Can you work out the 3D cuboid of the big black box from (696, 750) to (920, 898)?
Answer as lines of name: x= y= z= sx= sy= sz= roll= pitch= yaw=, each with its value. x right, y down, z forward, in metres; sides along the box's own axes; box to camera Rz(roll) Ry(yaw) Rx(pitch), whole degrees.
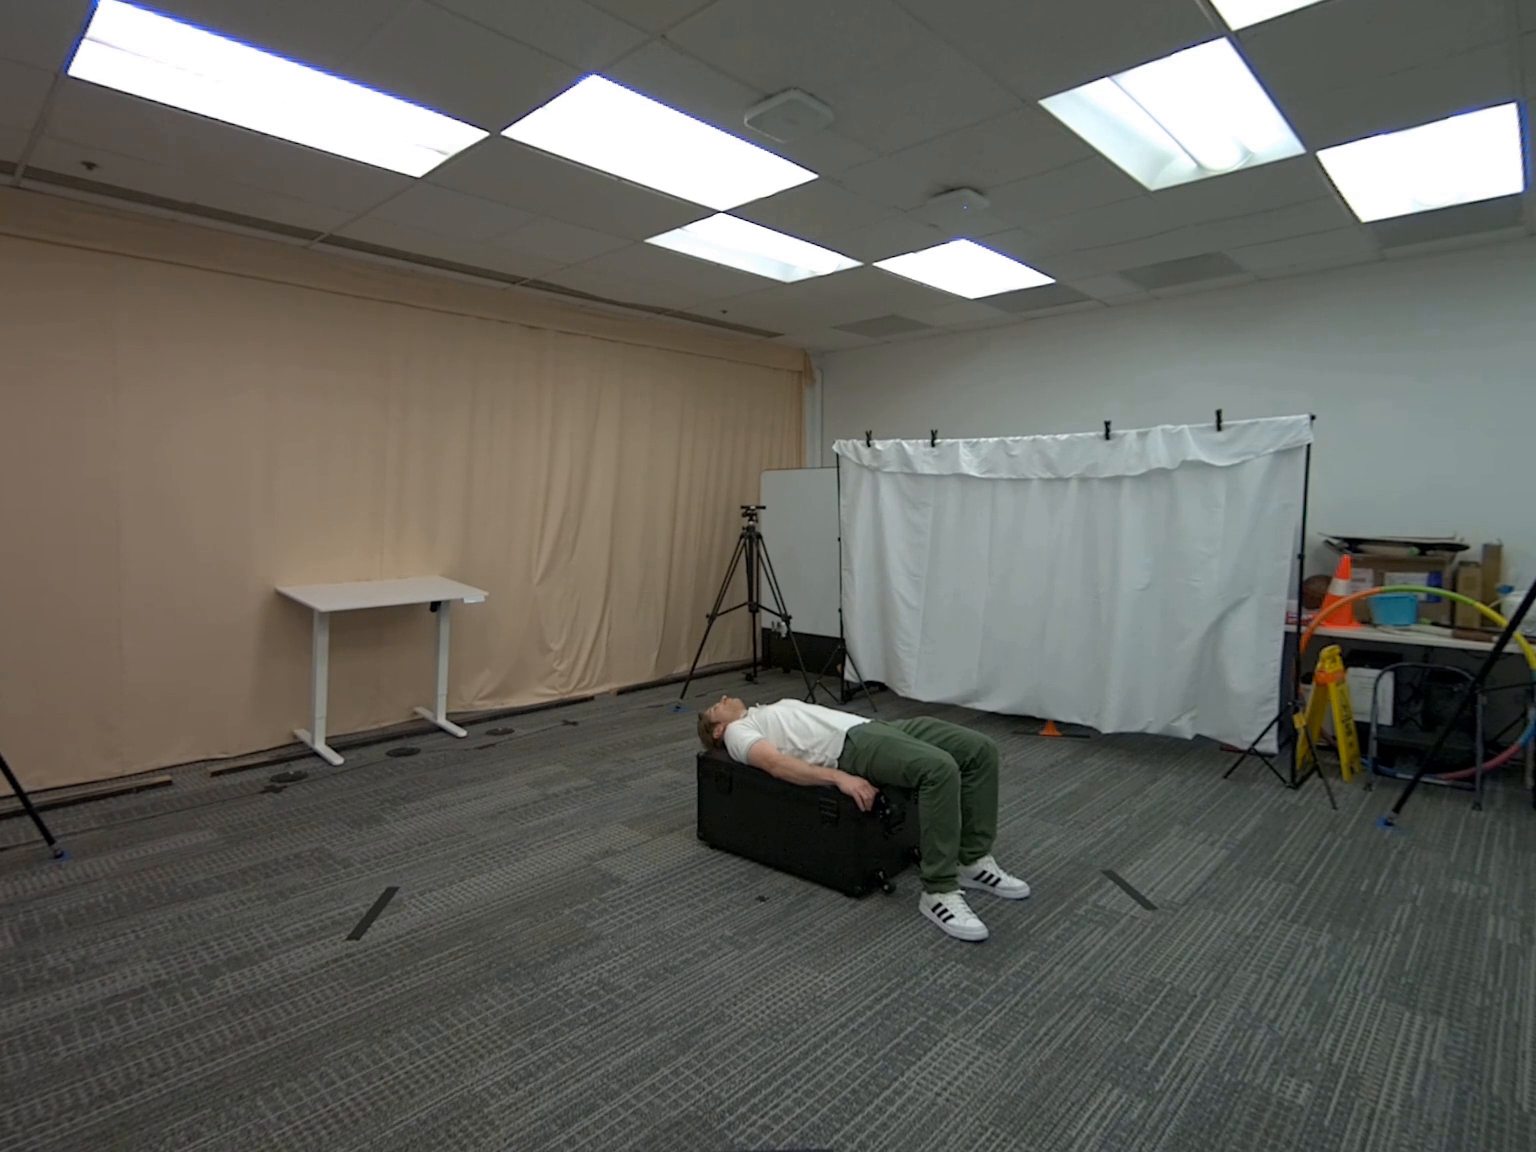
big black box: x=0.191 y=0.924 z=3.347 sx=0.897 sy=0.384 sz=0.507 roll=4 pitch=5 yaw=39
